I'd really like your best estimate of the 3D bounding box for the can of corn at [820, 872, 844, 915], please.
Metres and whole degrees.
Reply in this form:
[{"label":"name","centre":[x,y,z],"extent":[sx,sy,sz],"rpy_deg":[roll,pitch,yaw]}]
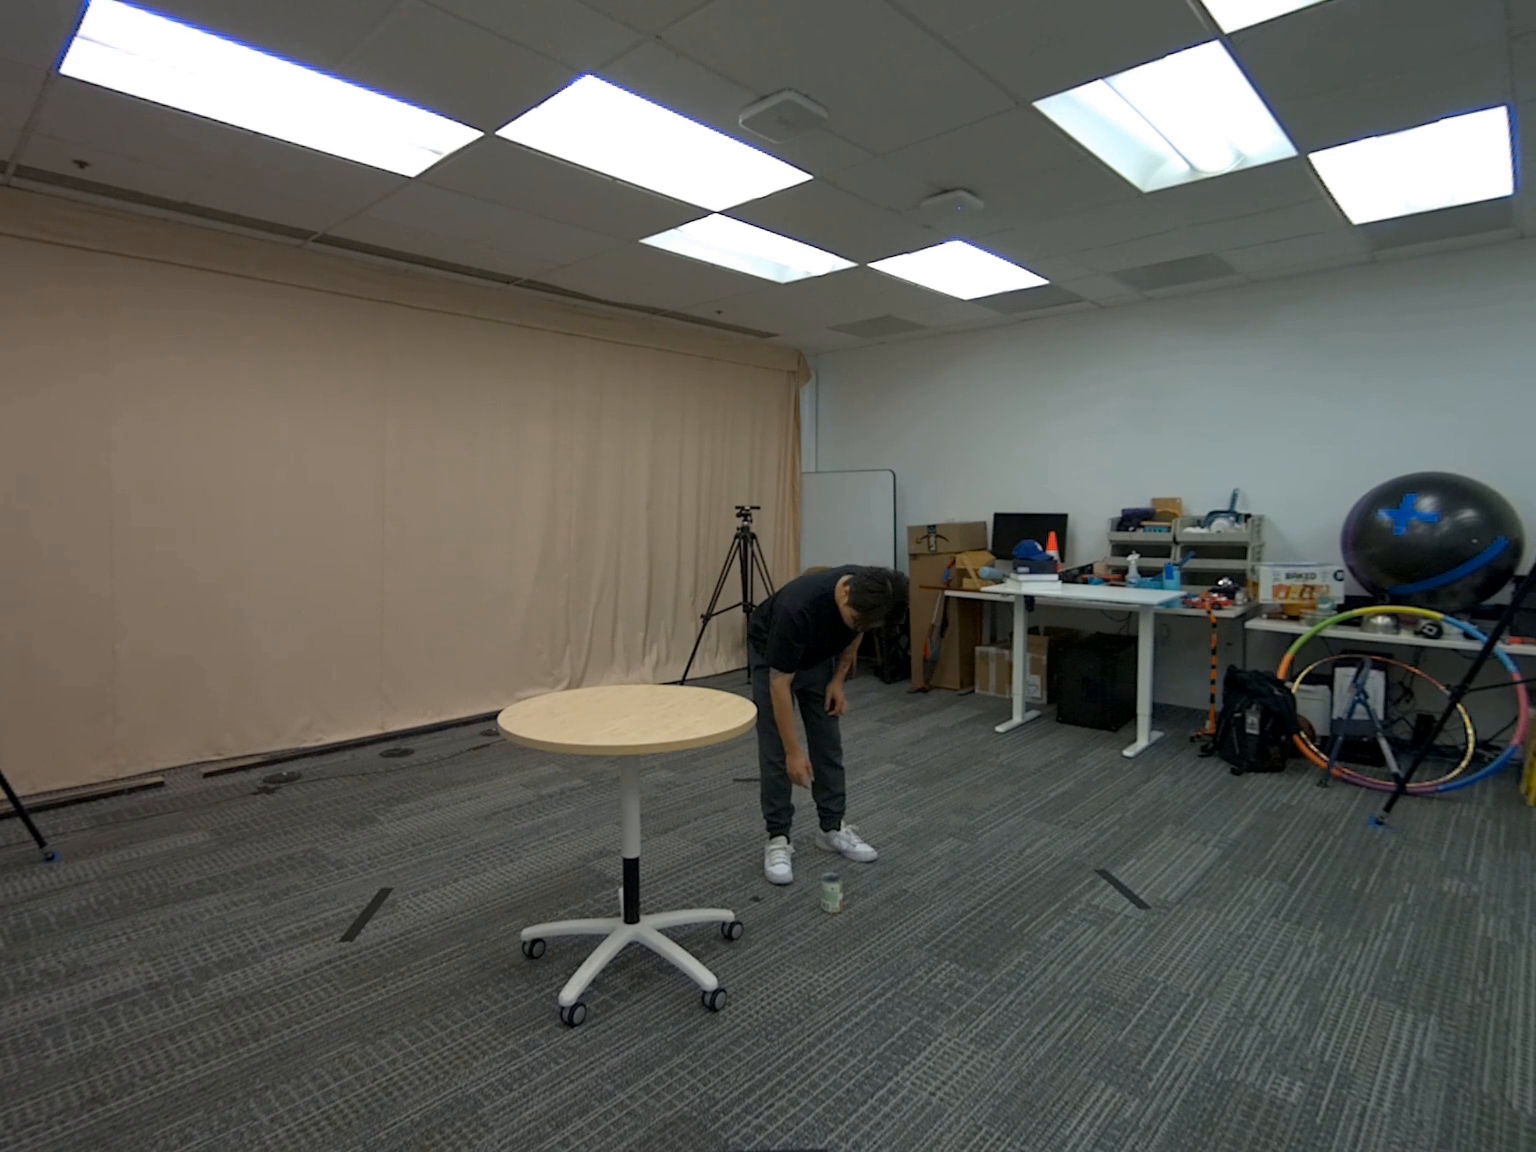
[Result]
[{"label":"can of corn","centre":[0.215,1.091,2.902],"extent":[0.074,0.111,0.074],"rpy_deg":[-1,2,-2]}]
